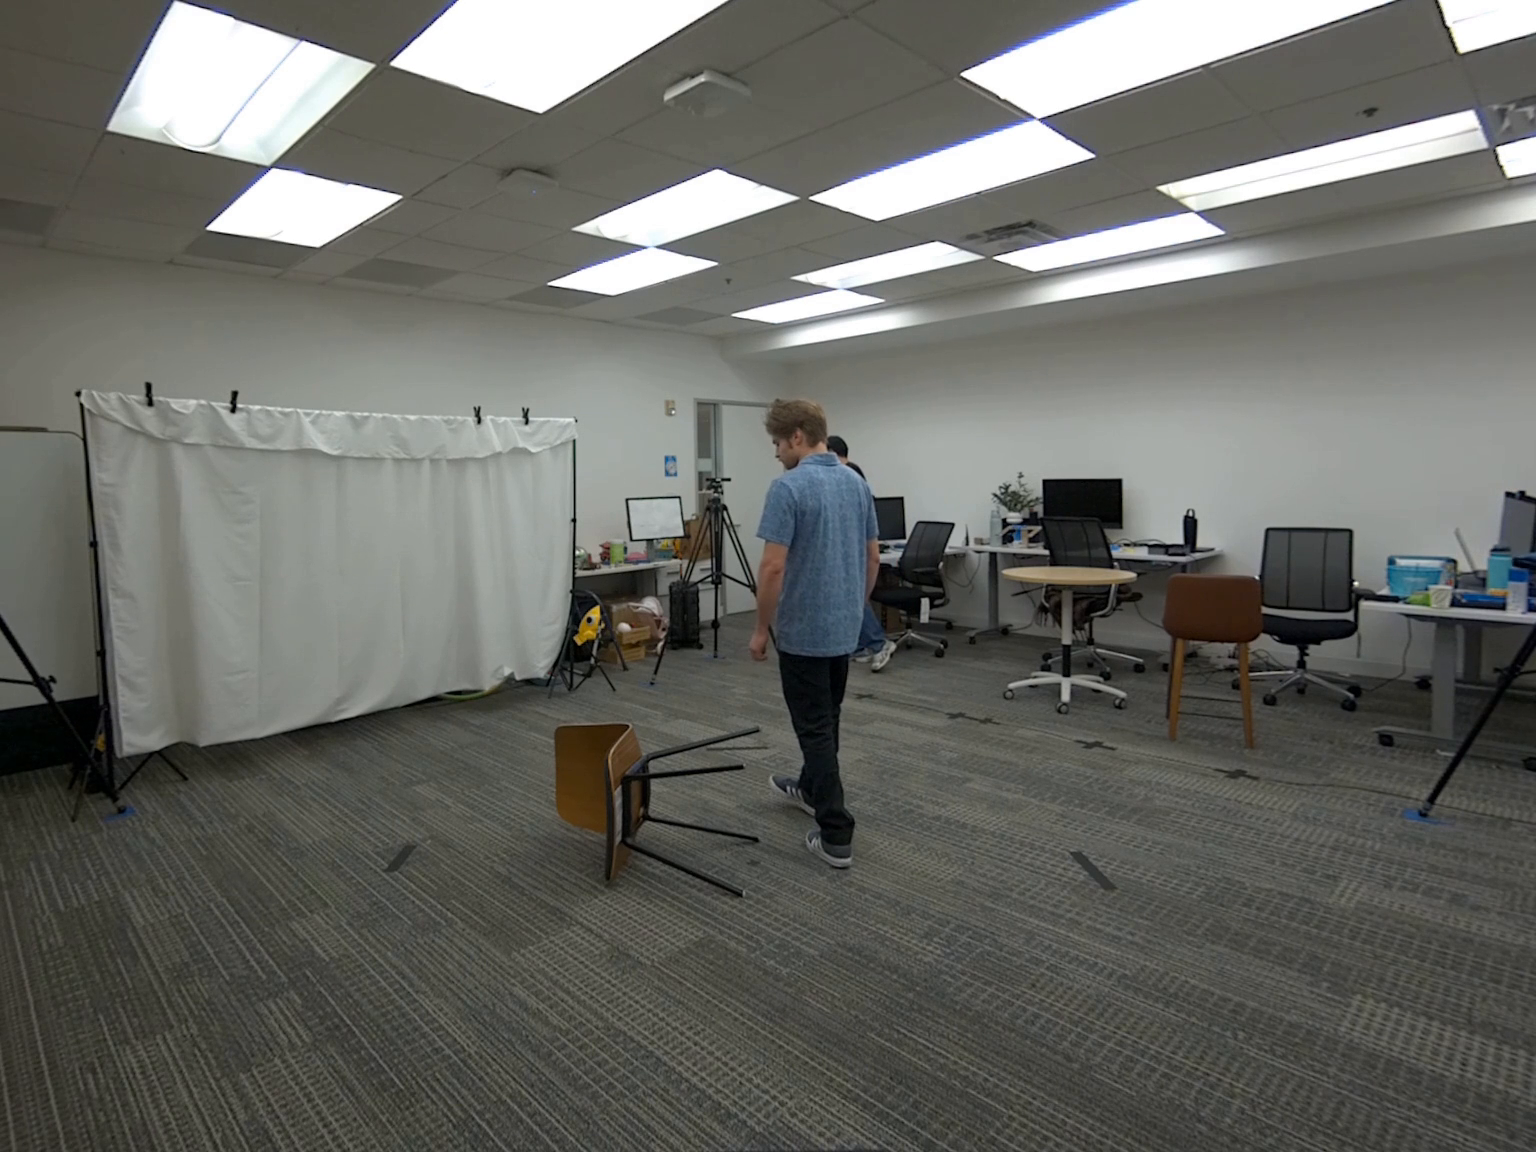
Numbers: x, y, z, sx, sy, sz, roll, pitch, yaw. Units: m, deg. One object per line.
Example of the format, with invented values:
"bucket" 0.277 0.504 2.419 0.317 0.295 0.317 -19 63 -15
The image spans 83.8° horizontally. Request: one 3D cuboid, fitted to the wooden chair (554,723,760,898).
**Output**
"wooden chair" -0.481 0.819 3.113 0.889 0.476 0.519 1 6 13
